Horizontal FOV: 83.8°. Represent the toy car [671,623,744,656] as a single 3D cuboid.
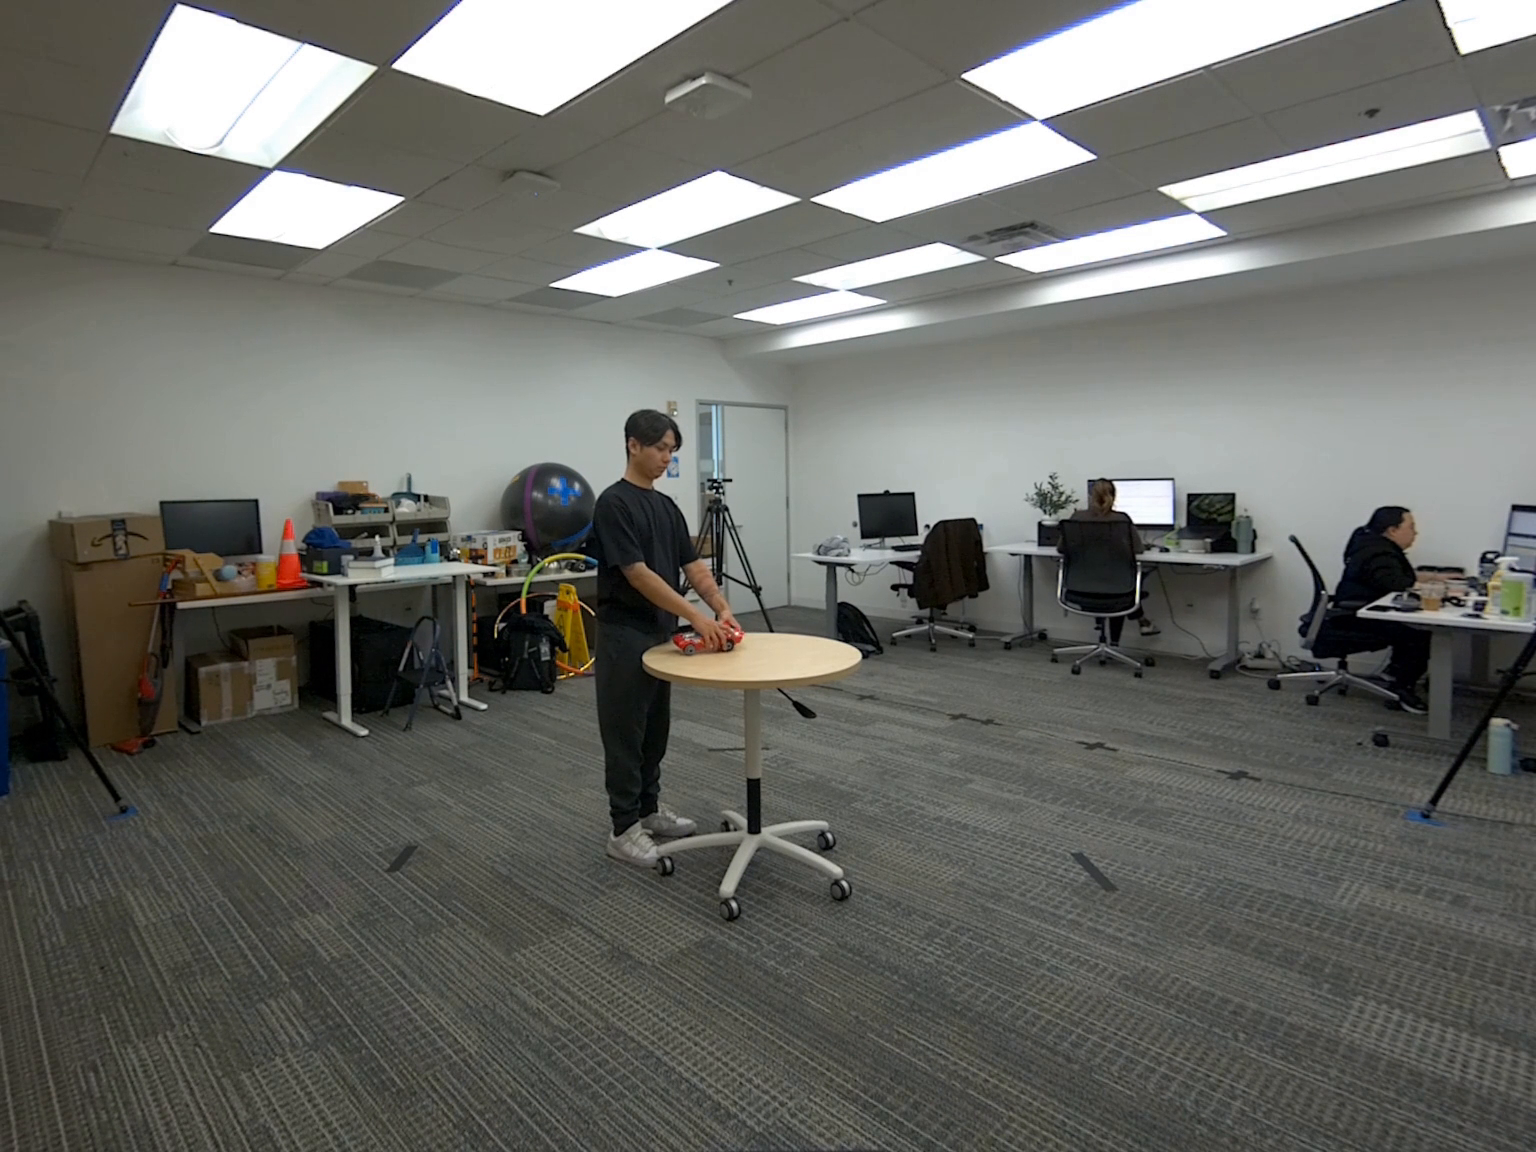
[{"bbox_3d":[-0.203,0.231,3.059,0.251,0.082,0.134,-15,17,-19],"label":"toy car"}]
